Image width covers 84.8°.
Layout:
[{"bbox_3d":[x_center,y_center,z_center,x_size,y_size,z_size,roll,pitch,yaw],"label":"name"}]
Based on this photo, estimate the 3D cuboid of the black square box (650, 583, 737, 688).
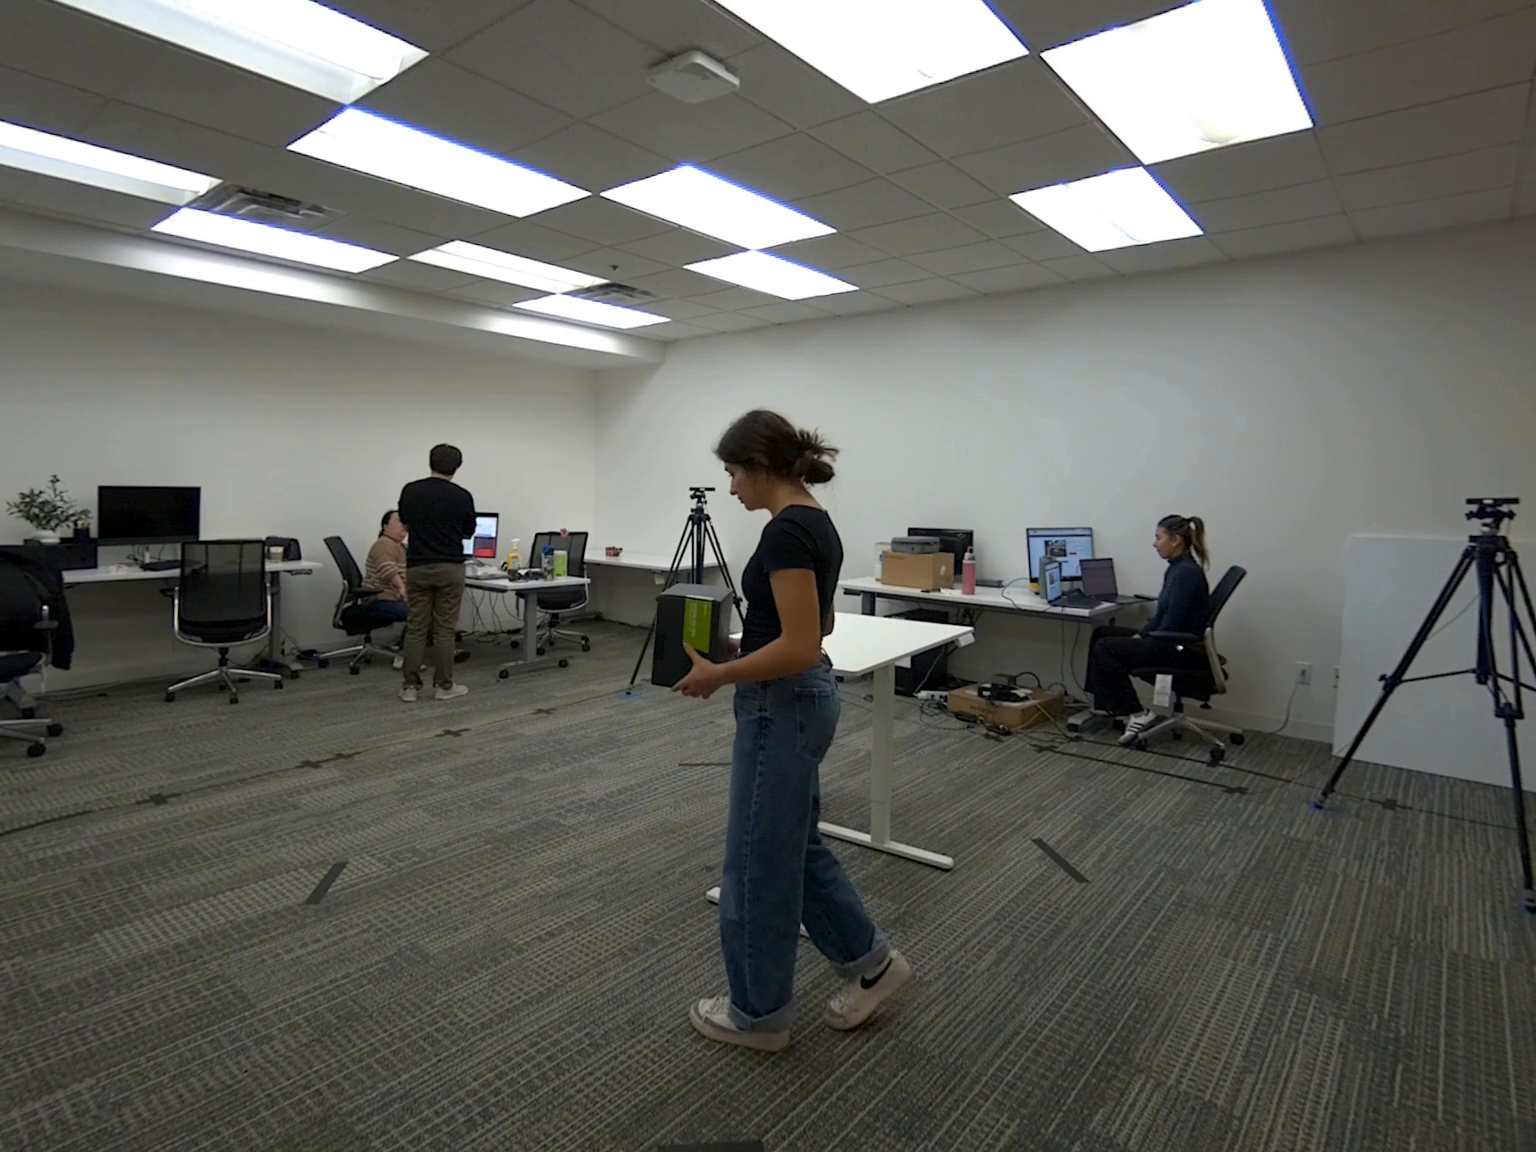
[{"bbox_3d":[-0.191,0.148,2.154,0.158,0.226,0.216,4,7,9],"label":"black square box"}]
